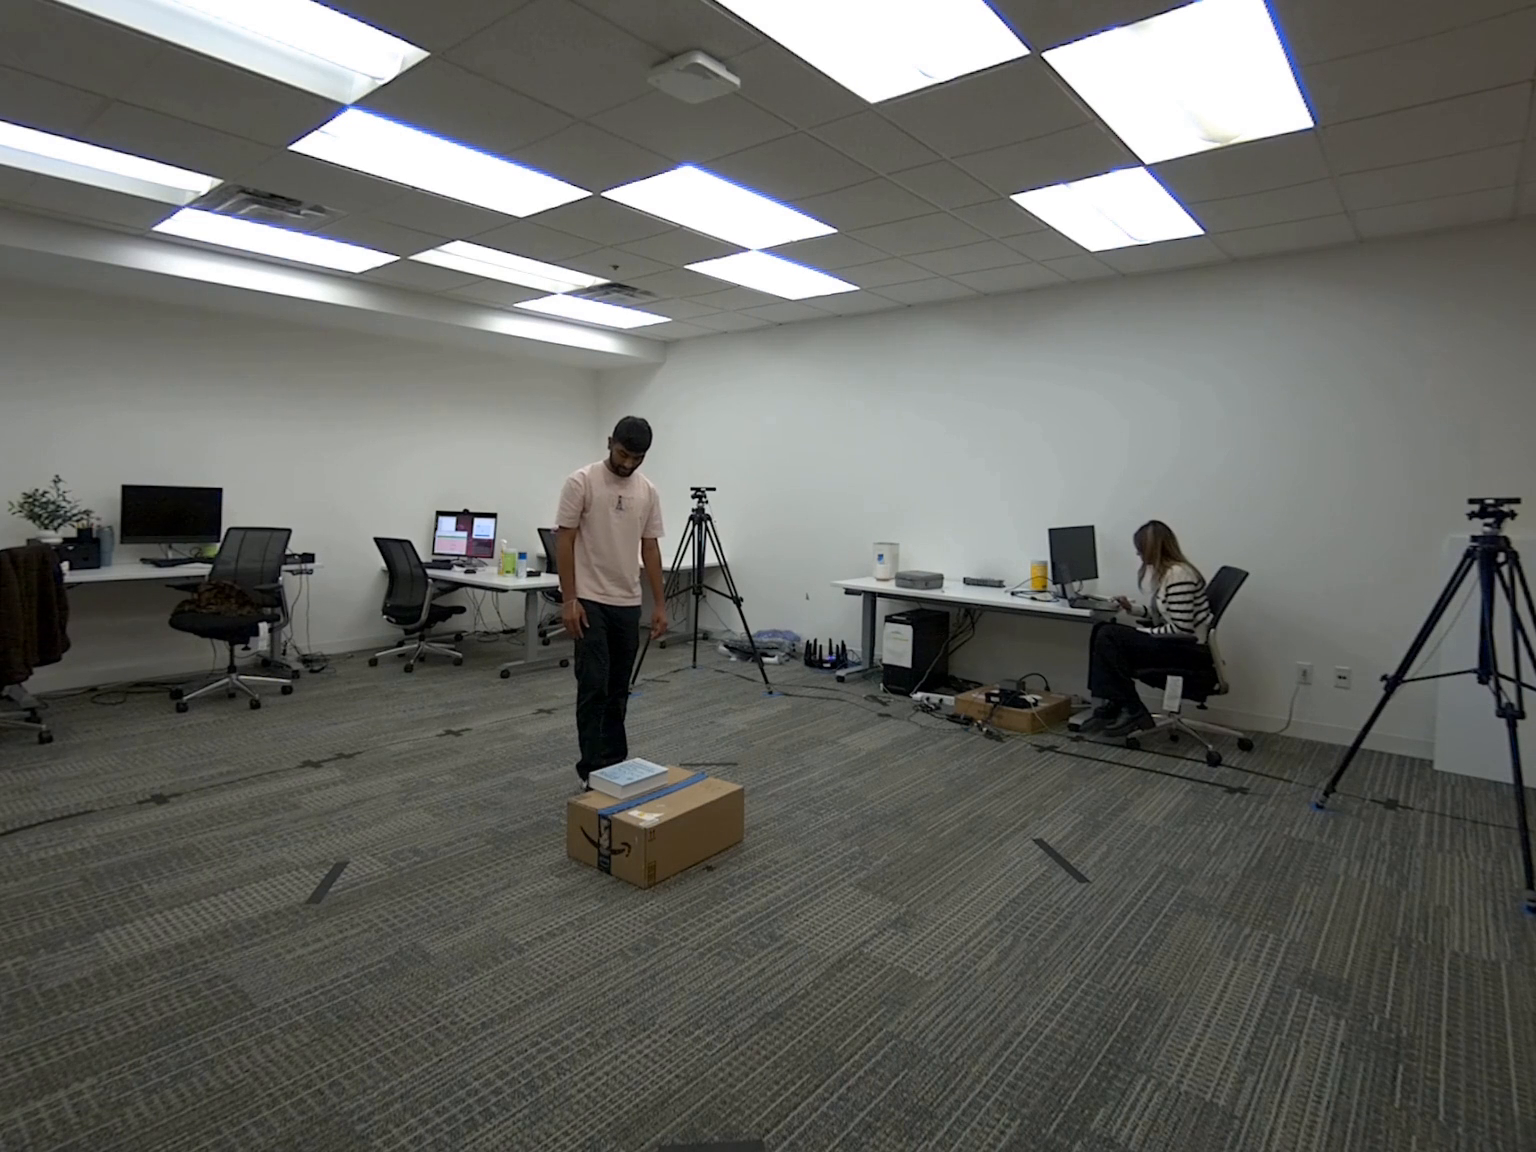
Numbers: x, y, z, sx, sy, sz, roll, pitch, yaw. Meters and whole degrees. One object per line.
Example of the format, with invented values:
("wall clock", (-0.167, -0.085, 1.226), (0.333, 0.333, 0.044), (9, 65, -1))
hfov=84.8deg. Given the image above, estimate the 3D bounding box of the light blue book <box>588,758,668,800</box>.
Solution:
("light blue book", (-0.553, 0.792, 3.356), (0.198, 0.059, 0.253), (8, 8, 37))
